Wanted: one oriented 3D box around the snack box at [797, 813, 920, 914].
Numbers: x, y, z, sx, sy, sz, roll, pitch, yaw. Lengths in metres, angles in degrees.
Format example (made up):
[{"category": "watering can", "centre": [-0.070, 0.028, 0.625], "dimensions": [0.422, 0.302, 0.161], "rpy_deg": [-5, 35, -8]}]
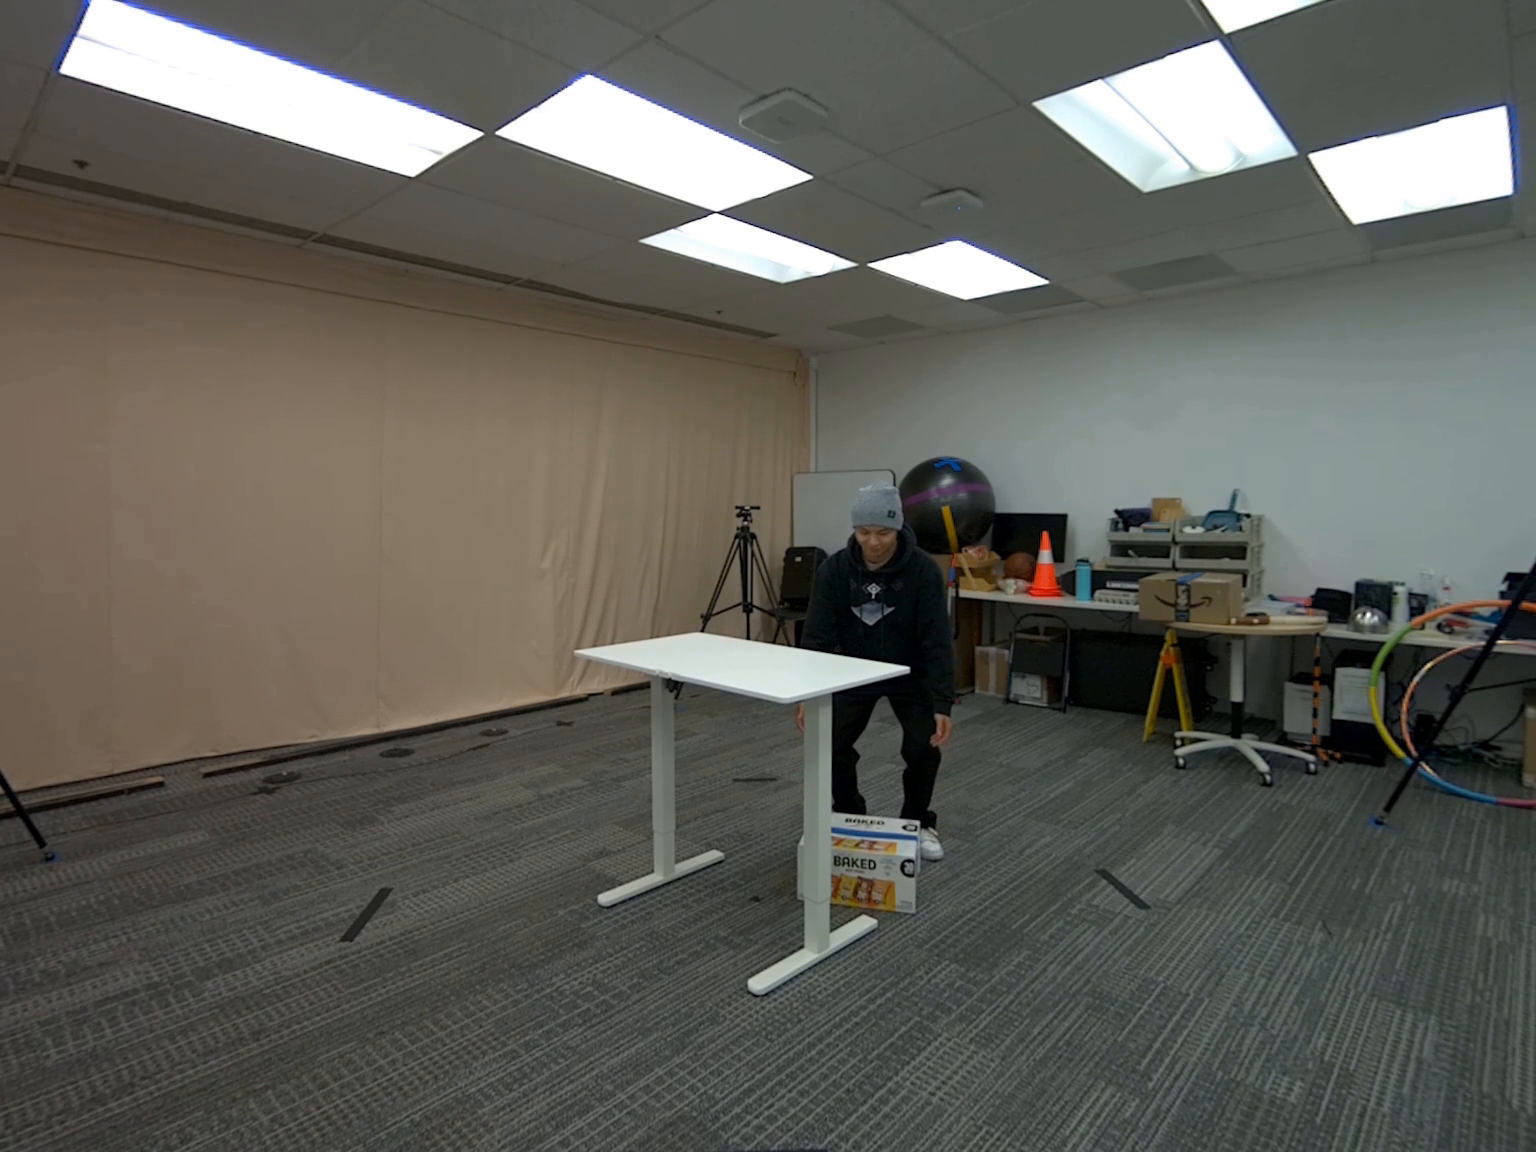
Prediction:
[{"category": "snack box", "centre": [0.343, 1.036, 3.069], "dimensions": [0.412, 0.205, 0.336], "rpy_deg": [1, 5, 15]}]
